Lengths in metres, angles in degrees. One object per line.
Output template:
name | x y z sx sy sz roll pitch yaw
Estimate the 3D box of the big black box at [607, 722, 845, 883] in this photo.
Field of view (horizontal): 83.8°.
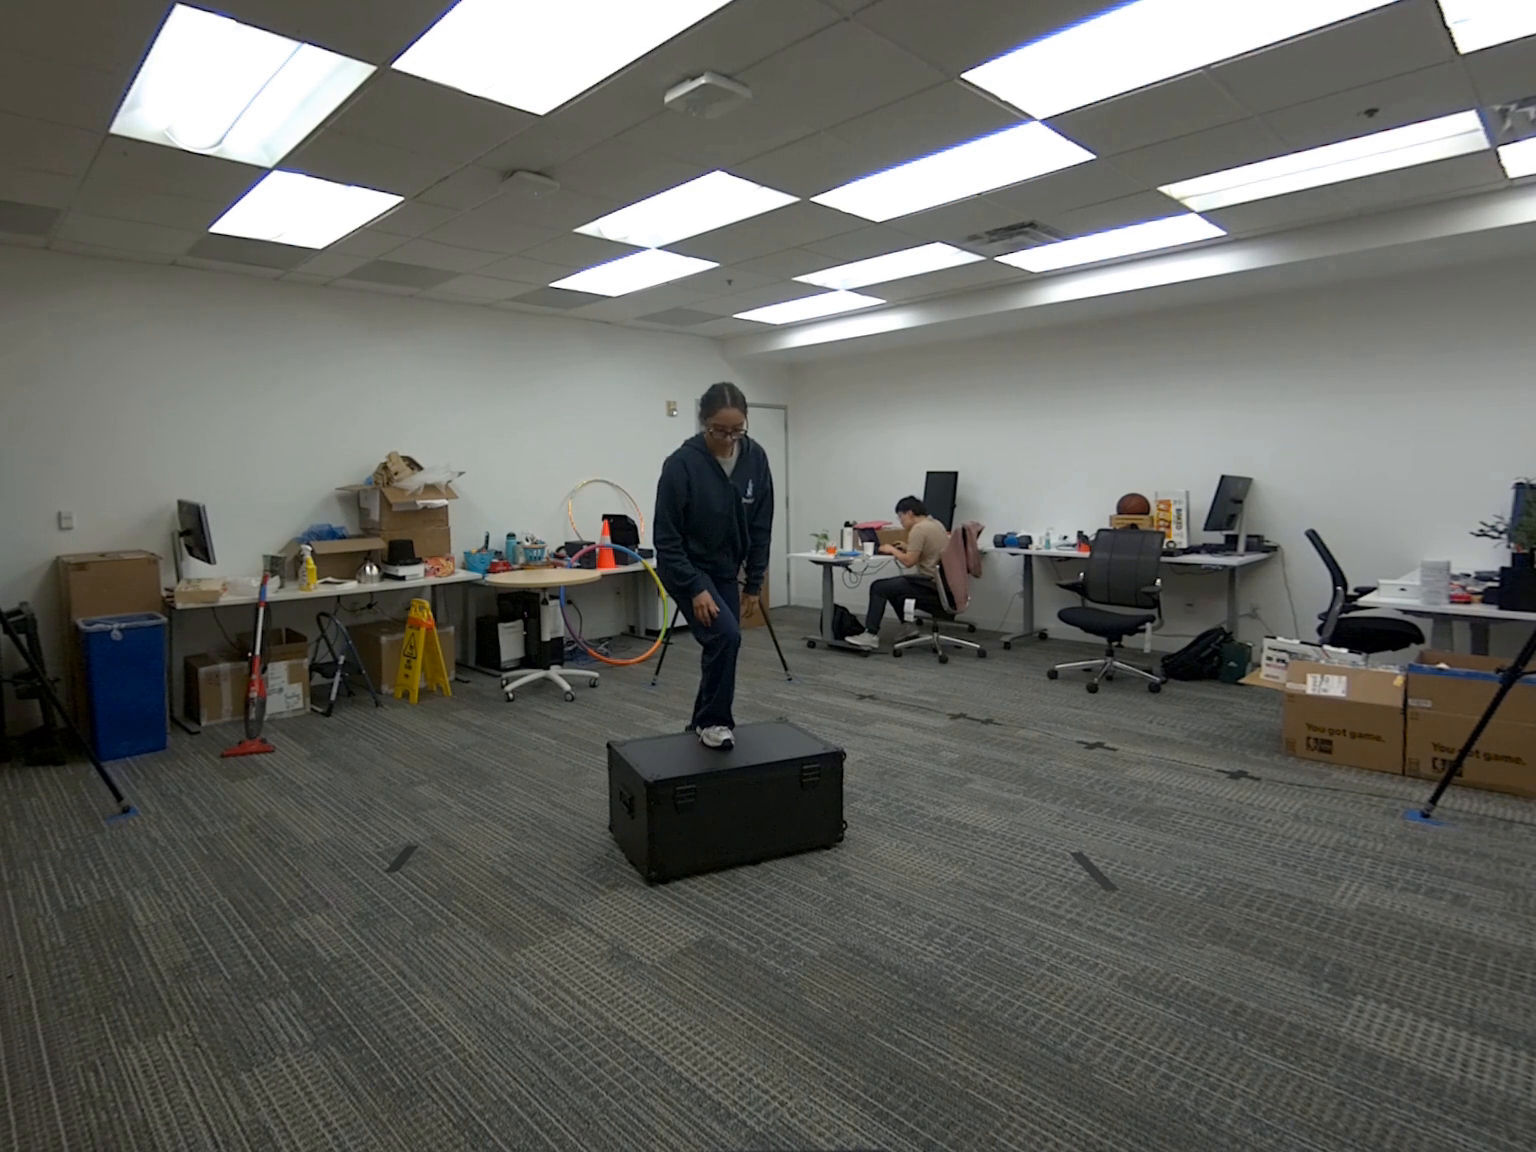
big black box | -0.144 0.848 3.298 0.843 0.518 0.407 -4 7 -25
